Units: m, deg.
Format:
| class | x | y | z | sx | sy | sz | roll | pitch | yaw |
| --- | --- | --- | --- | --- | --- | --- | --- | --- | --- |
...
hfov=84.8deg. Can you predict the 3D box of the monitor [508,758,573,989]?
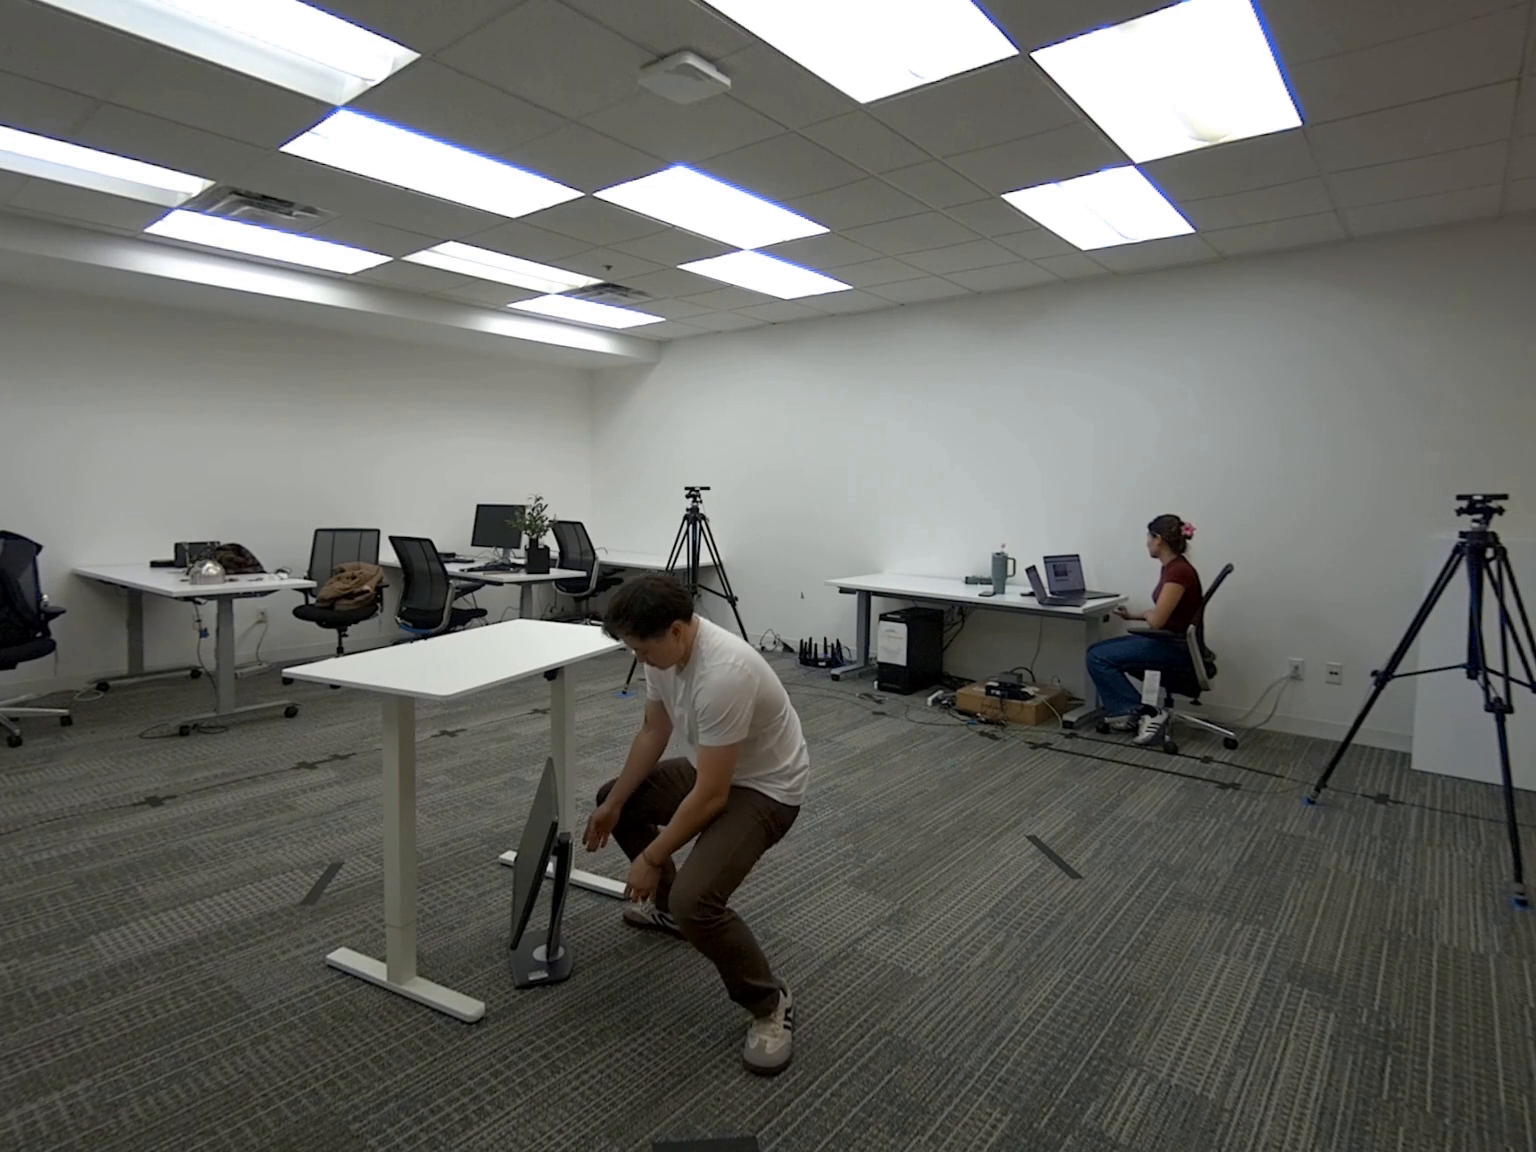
| class | x | y | z | sx | sy | sz | roll | pitch | yaw |
| --- | --- | --- | --- | --- | --- | --- | --- | --- | --- |
| monitor | -0.665 | 0.872 | 2.486 | 0.184 | 0.521 | 0.550 | 1 | 3 | -18 |
